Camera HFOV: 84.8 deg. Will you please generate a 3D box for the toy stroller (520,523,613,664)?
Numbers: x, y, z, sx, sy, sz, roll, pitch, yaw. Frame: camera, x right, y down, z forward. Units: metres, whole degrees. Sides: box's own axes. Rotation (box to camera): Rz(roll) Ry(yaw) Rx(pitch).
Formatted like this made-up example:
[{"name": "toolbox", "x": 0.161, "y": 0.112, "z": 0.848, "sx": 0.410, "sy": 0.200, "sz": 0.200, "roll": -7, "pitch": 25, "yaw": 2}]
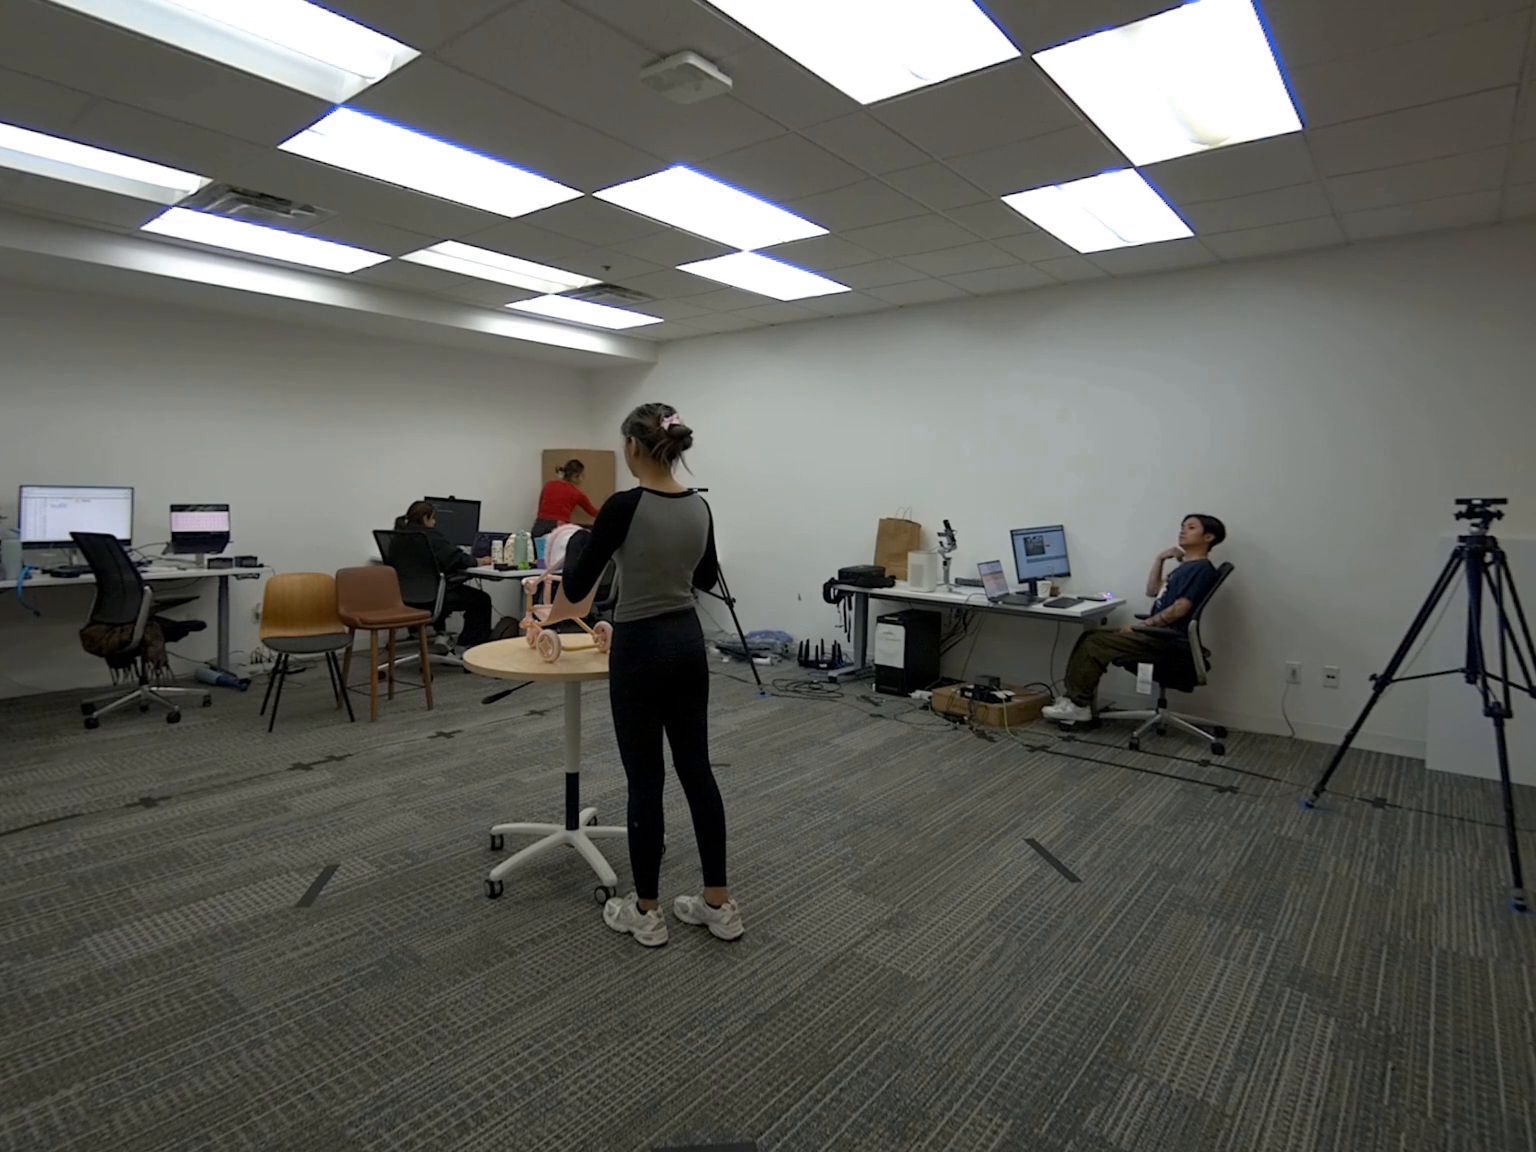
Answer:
[{"name": "toy stroller", "x": -0.730, "y": 0.056, "z": 3.010, "sx": 0.355, "sy": 0.530, "sz": 0.273, "roll": 23, "pitch": 17, "yaw": 40}]
